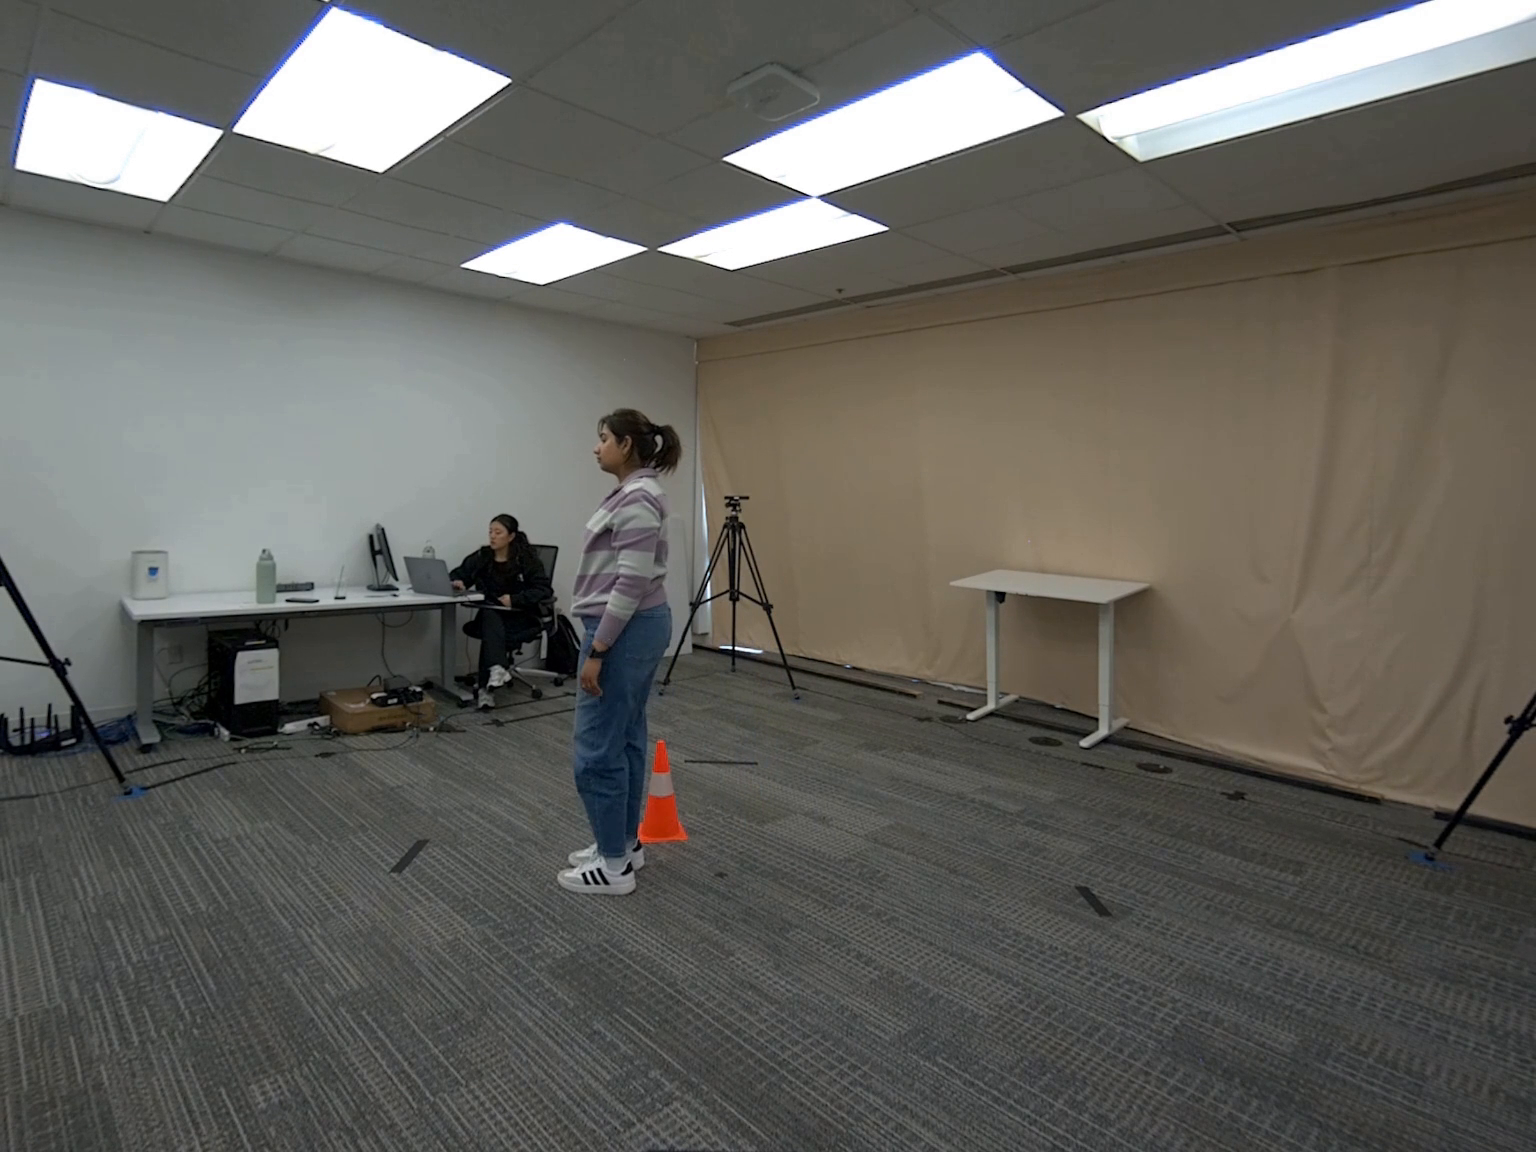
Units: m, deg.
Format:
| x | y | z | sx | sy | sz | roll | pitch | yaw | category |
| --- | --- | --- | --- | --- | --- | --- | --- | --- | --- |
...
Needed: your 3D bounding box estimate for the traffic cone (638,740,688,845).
| x | y | z | sx | sy | sz | roll | pitch | yaw | category |
| --- | --- | --- | --- | --- | --- | --- | --- | --- | --- |
| -0.453 | 0.879 | 3.489 | 0.201 | 0.383 | 0.208 | 2 | 2 | -16 | traffic cone |
